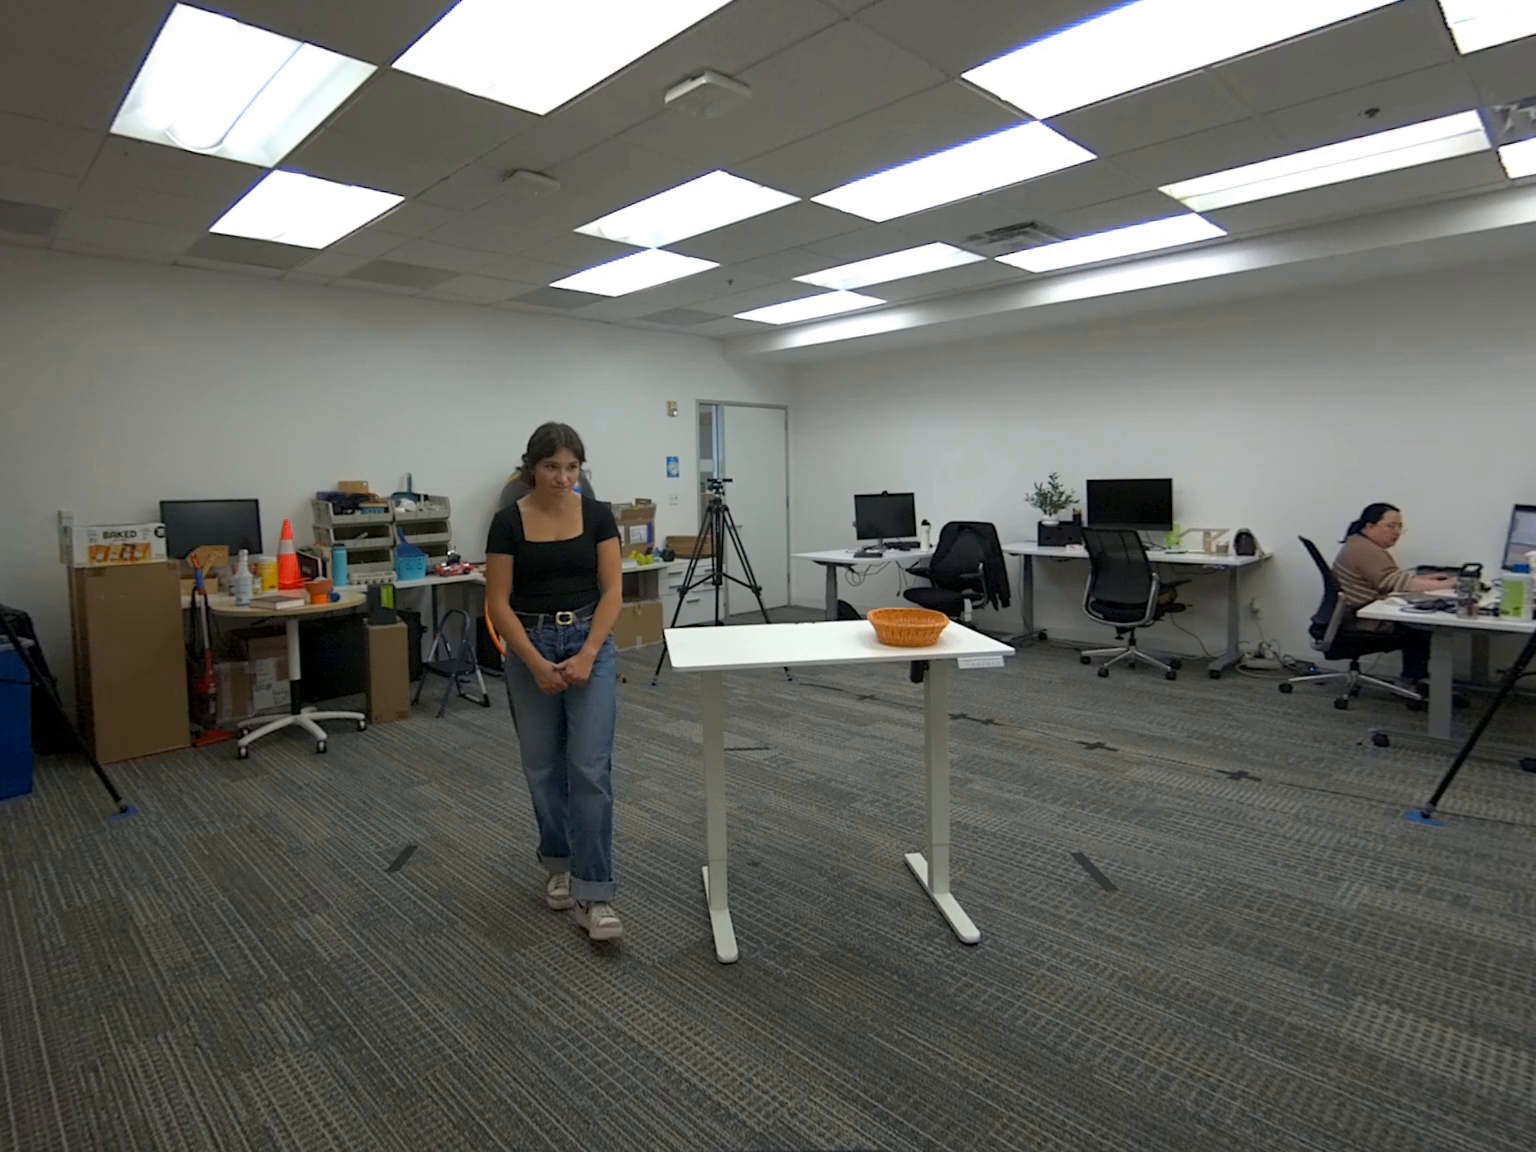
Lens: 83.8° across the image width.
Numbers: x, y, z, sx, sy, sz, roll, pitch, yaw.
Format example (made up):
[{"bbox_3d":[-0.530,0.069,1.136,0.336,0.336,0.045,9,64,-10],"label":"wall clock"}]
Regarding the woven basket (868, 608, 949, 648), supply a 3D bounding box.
[{"bbox_3d":[0.448,0.170,2.681,0.255,0.073,0.348,1,7,10],"label":"woven basket"}]
